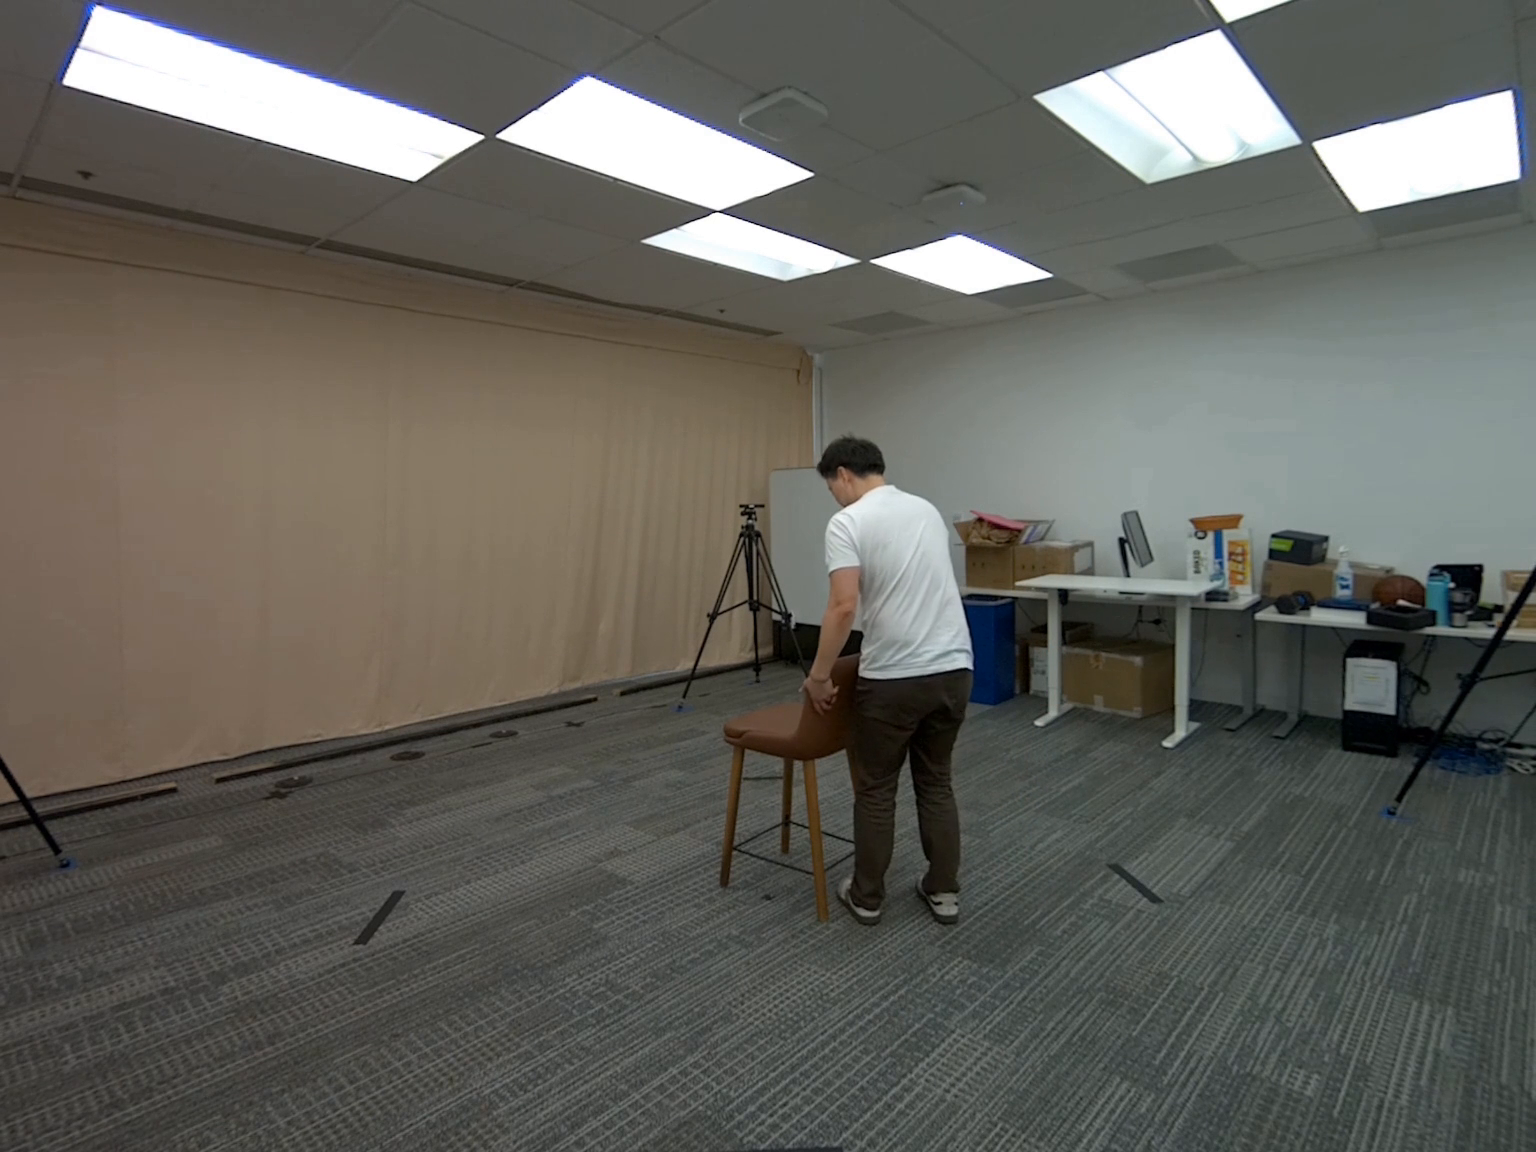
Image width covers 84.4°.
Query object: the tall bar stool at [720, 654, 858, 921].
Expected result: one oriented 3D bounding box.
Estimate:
[{"bbox_3d":[0.125,0.690,3.053,0.483,0.887,0.443,5,6,39],"label":"tall bar stool"}]
